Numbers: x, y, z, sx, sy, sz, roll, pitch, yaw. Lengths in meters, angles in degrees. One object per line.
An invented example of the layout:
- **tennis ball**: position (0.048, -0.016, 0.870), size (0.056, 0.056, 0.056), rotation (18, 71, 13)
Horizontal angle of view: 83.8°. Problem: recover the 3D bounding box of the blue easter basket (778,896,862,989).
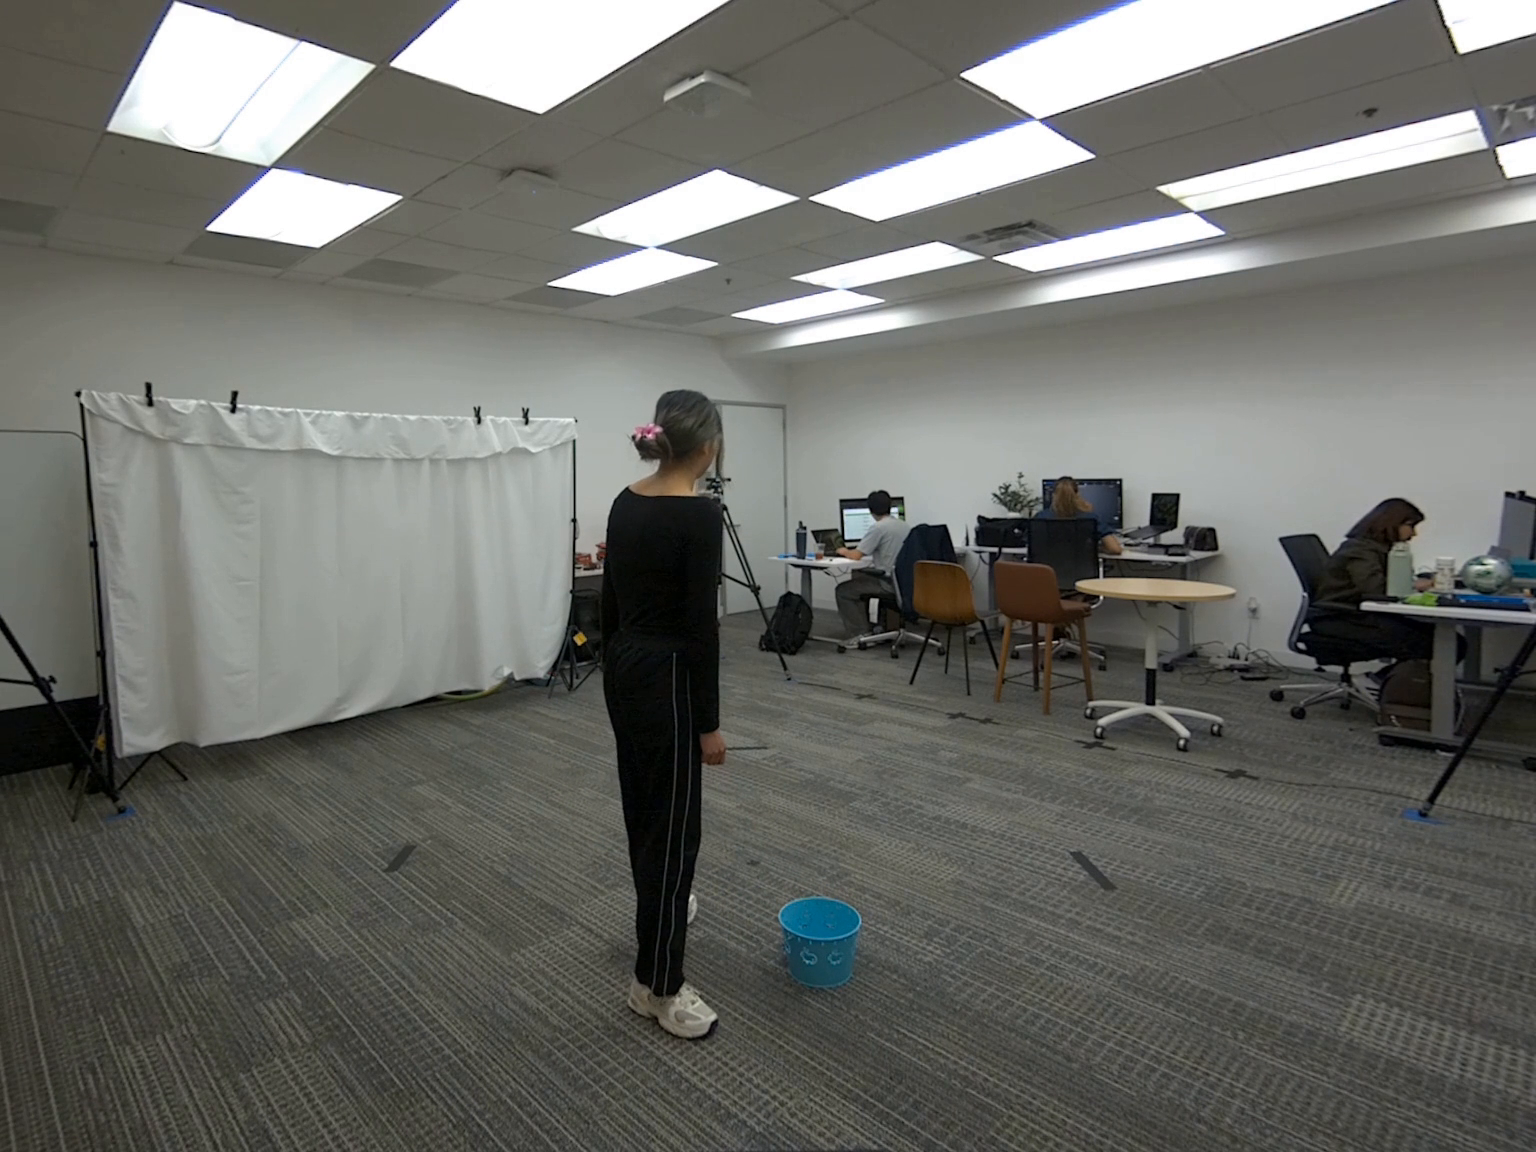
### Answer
- **blue easter basket**: position (0.153, 1.042, 2.428), size (0.243, 0.155, 0.245), rotation (-1, 5, -2)
